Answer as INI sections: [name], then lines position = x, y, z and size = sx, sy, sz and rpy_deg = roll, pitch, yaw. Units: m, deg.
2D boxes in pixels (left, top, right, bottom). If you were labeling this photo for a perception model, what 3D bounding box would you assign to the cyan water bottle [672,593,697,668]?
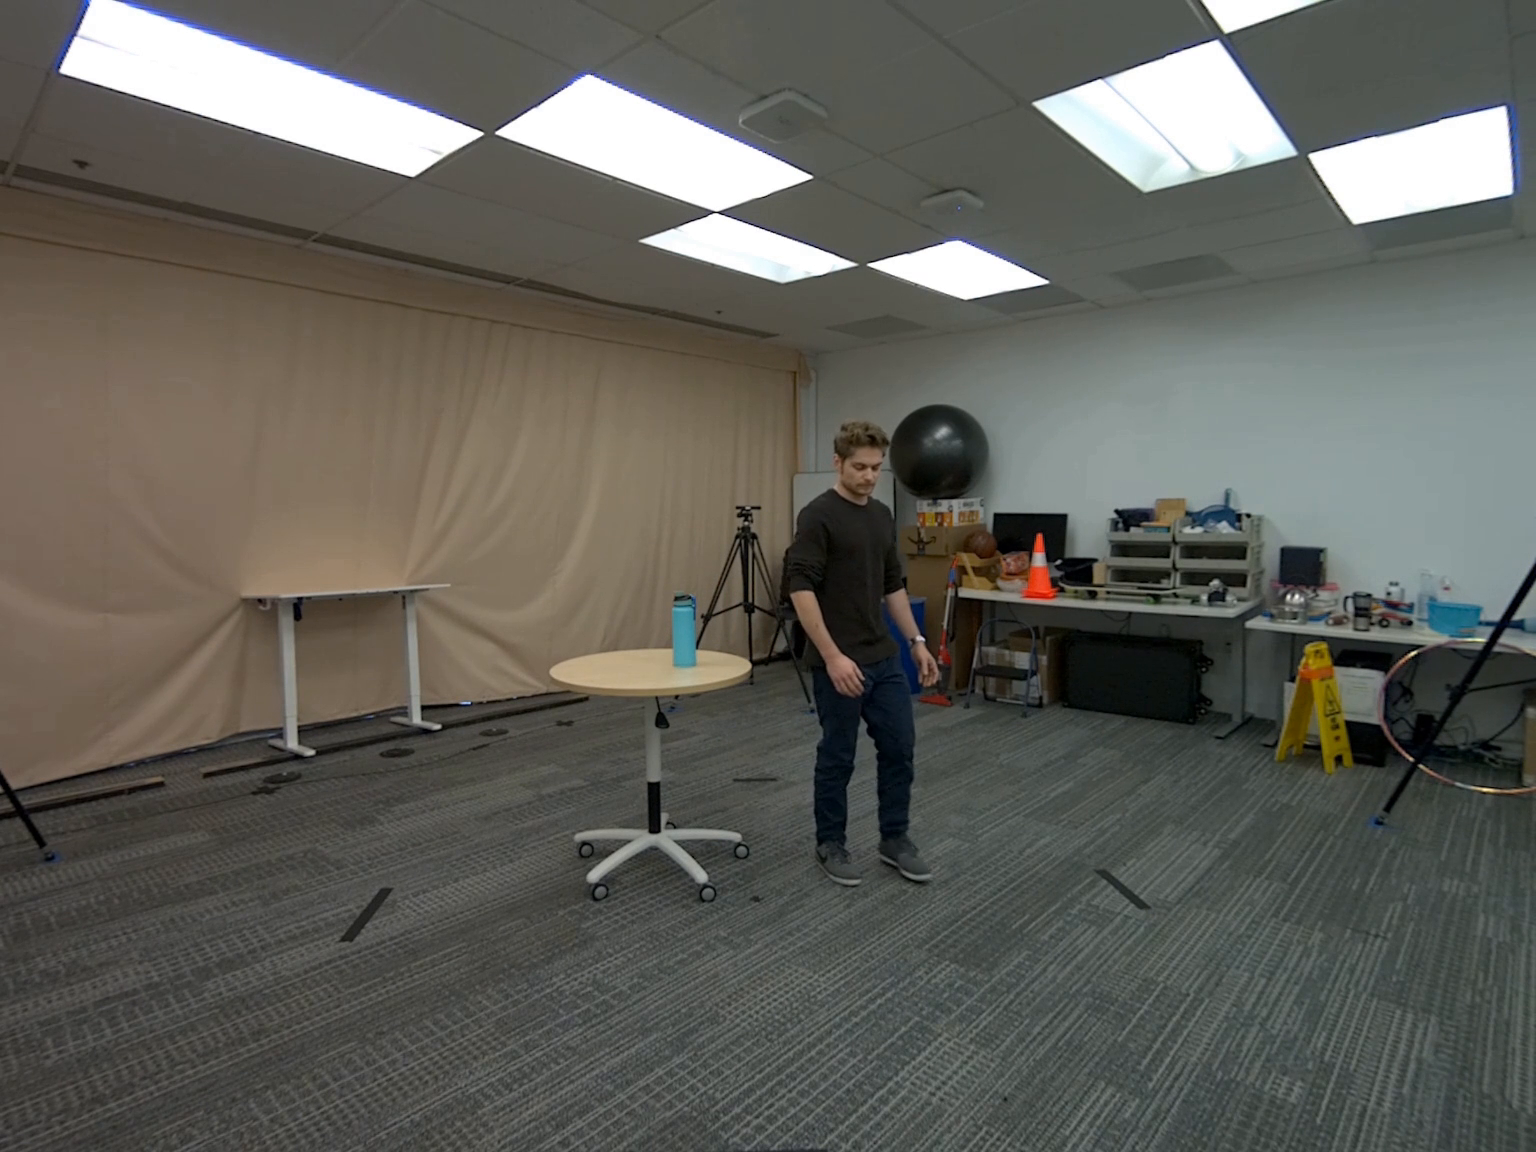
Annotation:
[cyan water bottle]
position = -0.317, 0.206, 3.233
size = 0.092, 0.283, 0.092
rpy_deg = 1, 2, -2
